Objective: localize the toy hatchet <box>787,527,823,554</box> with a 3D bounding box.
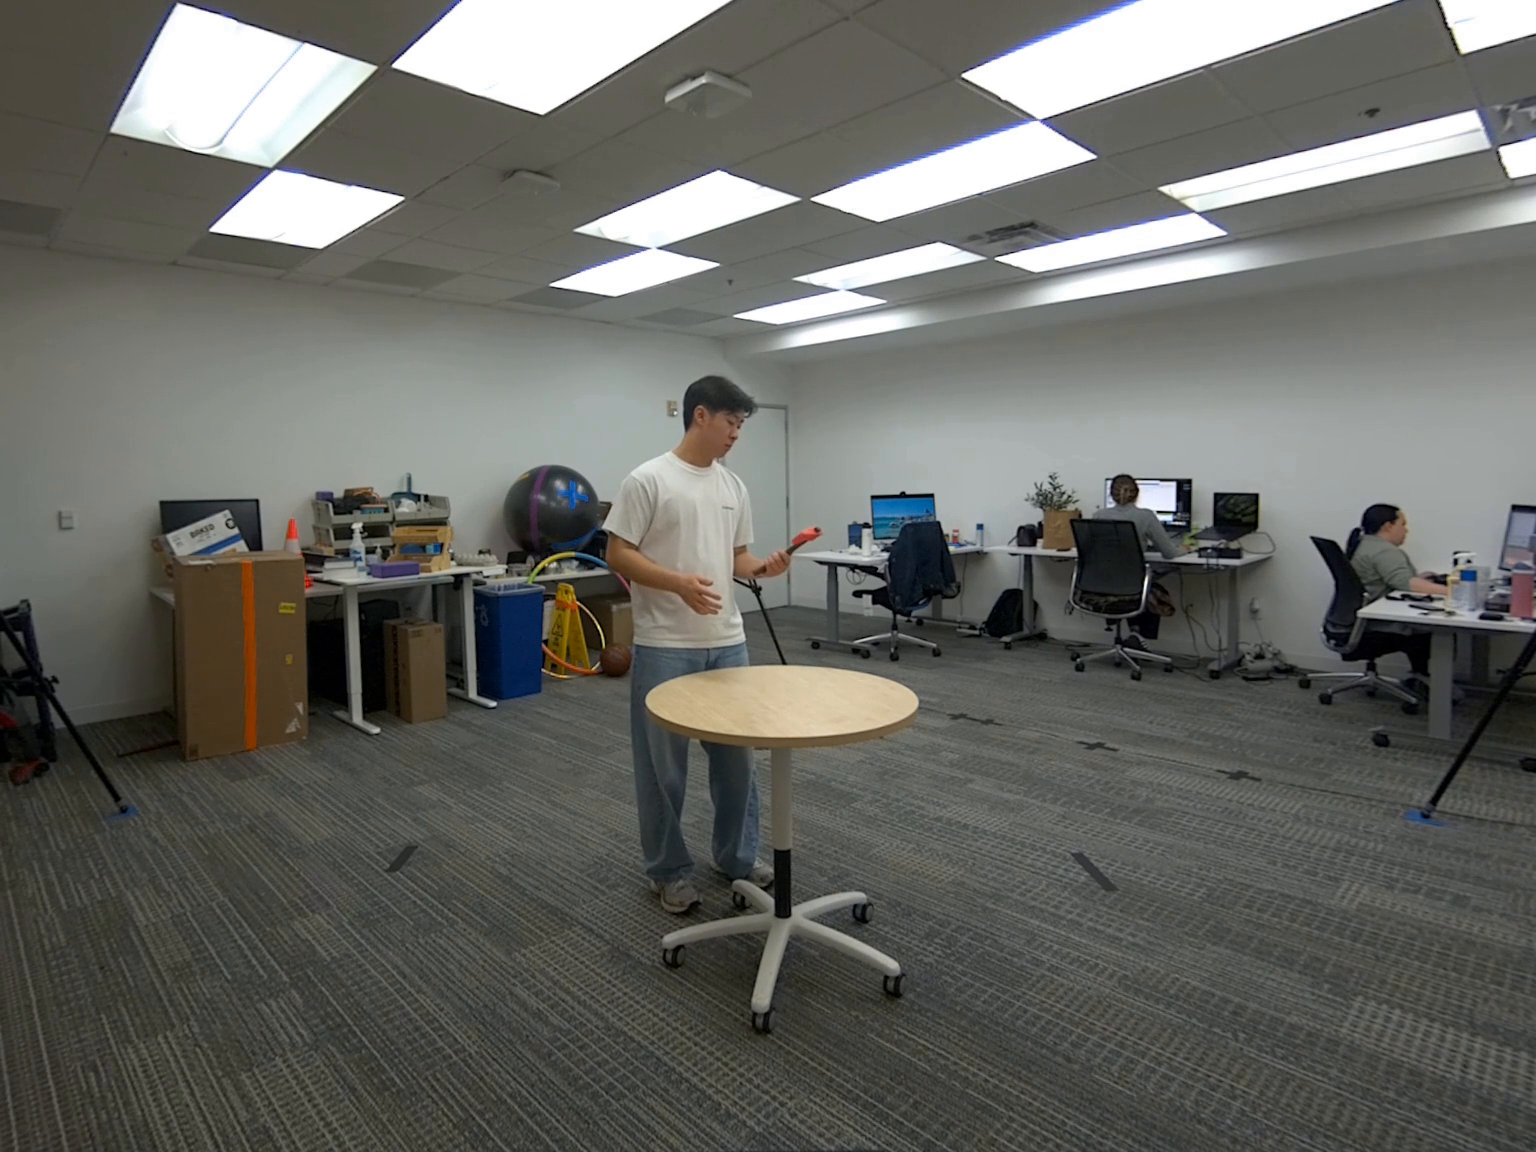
[{"bbox_3d":[0.050,-0.078,2.680,0.271,0.030,0.128,-29,-11,12],"label":"toy hatchet"}]
